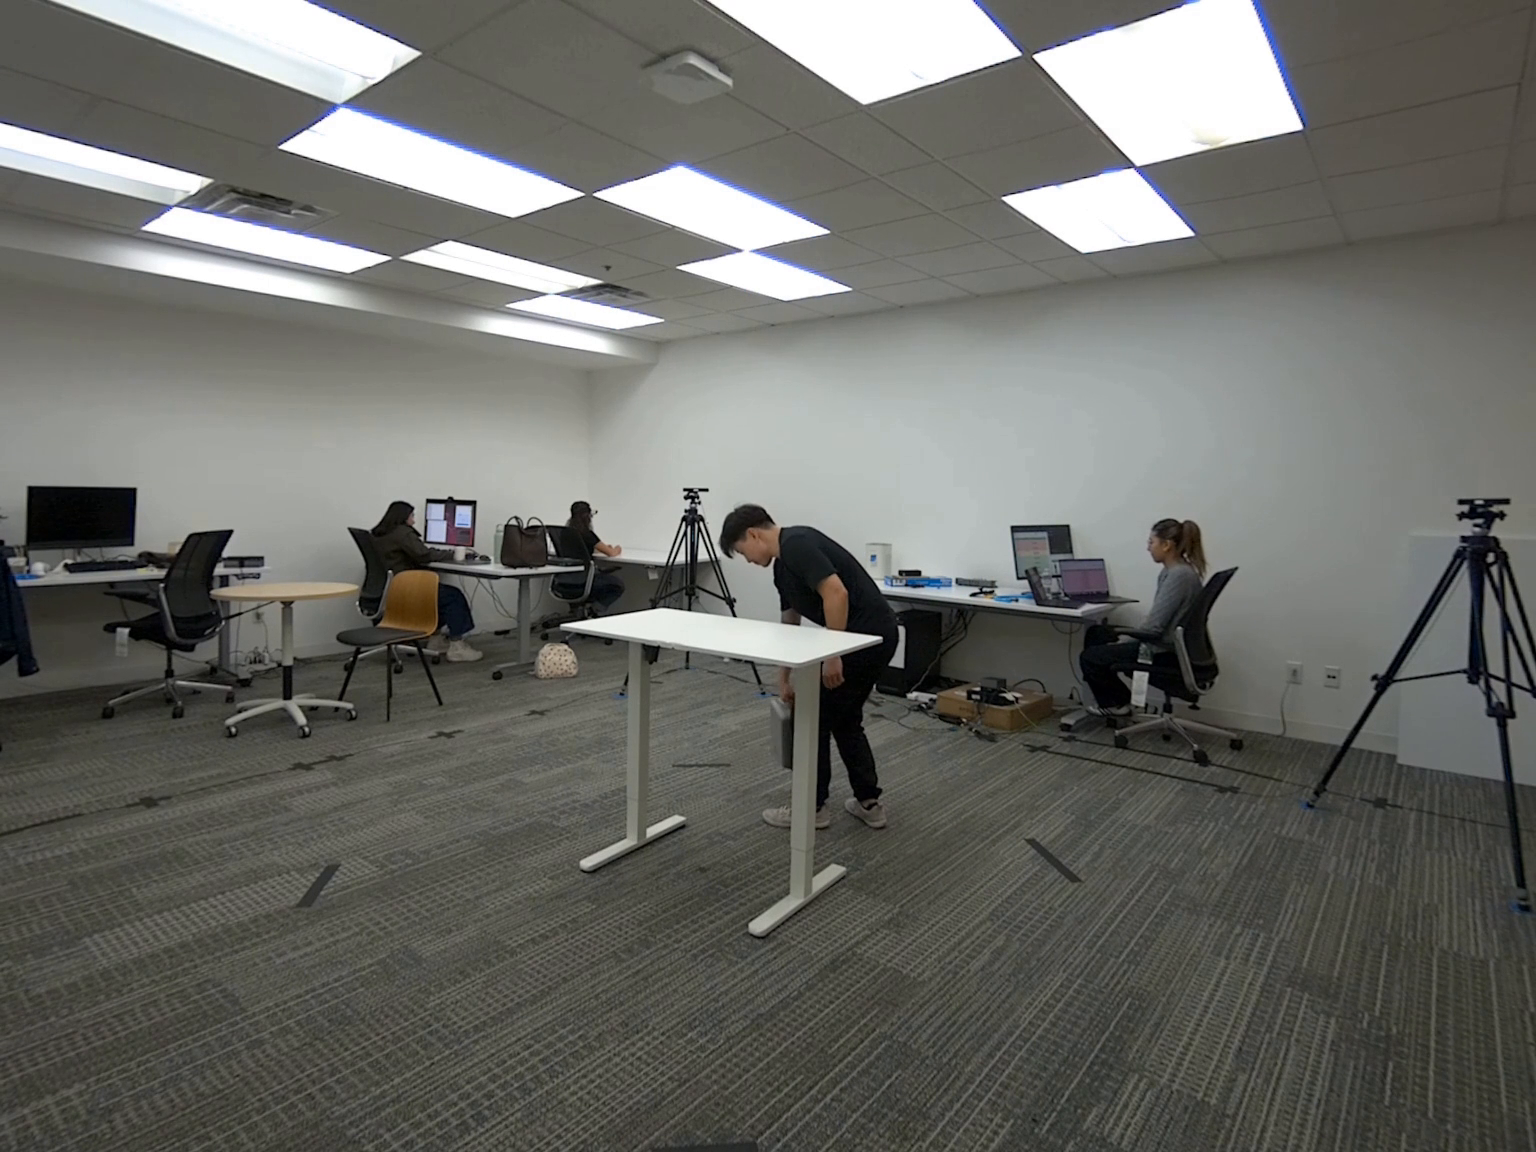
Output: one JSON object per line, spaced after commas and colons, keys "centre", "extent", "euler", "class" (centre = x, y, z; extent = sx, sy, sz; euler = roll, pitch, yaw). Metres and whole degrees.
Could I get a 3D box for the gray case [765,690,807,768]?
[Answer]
{"centre": [0.079, 0.694, 3.857], "extent": [0.103, 0.258, 0.262], "euler": [-8, 11, -9], "class": "gray case"}
